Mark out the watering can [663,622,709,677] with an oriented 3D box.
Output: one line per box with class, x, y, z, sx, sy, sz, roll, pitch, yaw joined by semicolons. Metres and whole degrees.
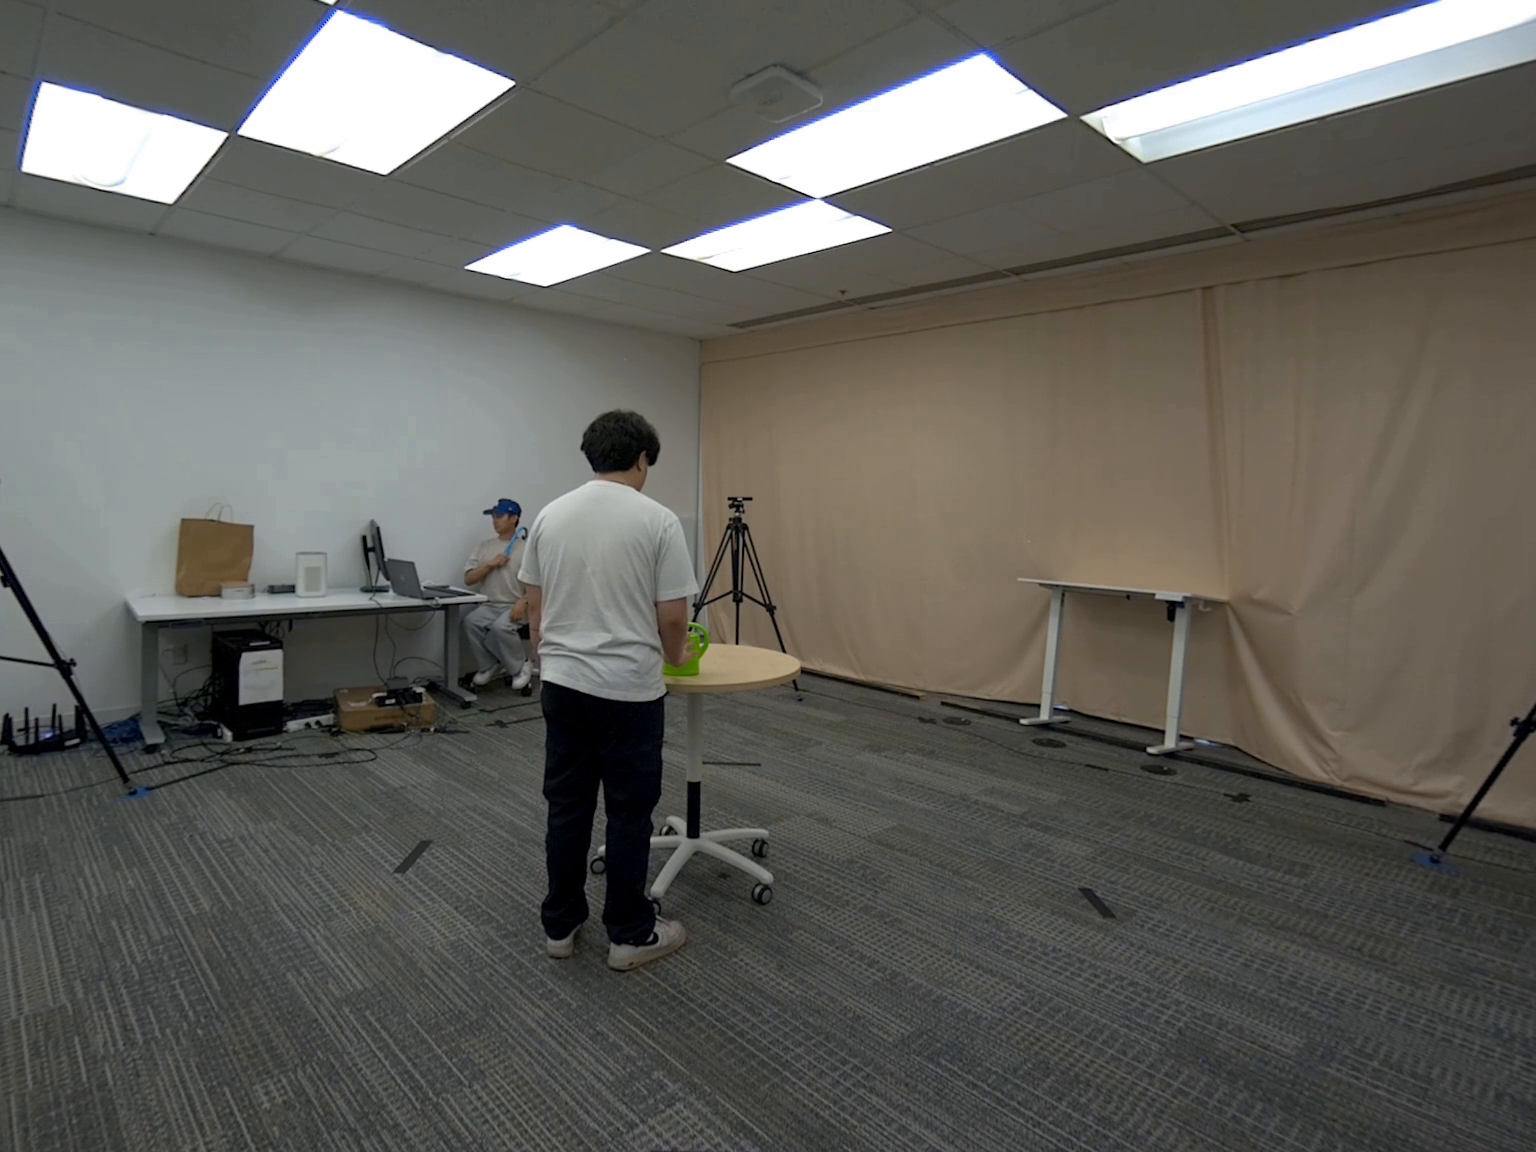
watering can;-0.351;0.250;2.868;0.280;0.176;0.097;3;2;9
